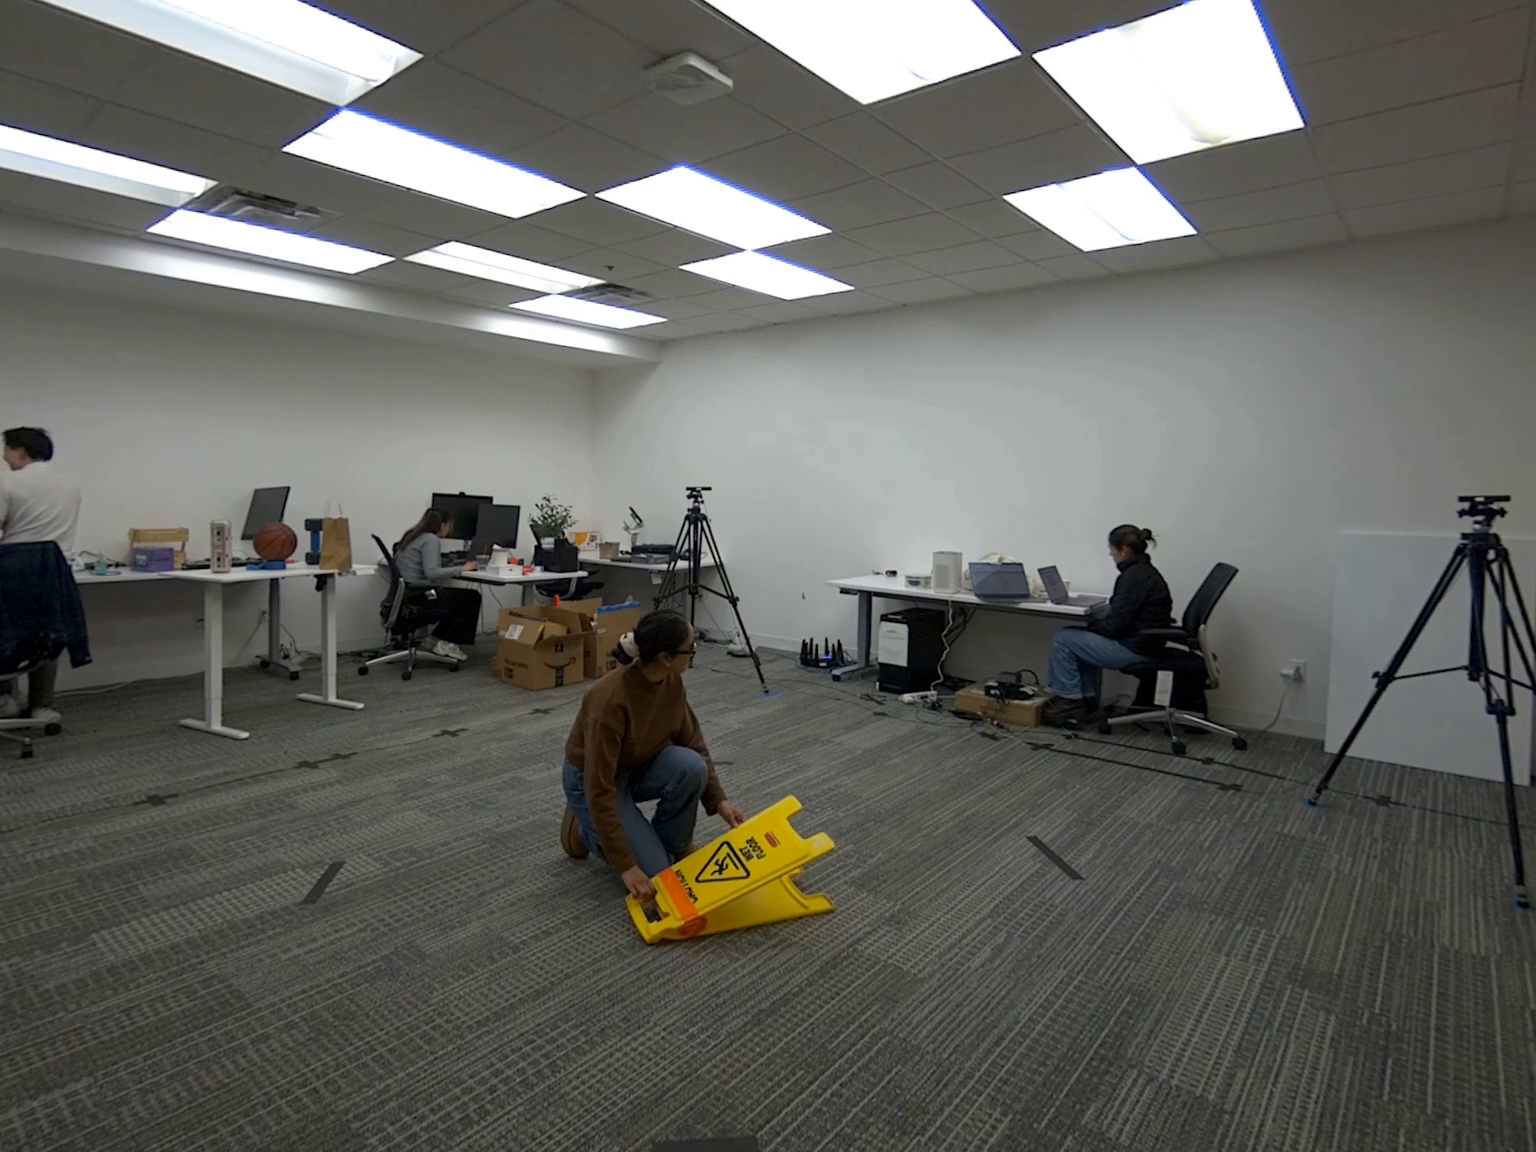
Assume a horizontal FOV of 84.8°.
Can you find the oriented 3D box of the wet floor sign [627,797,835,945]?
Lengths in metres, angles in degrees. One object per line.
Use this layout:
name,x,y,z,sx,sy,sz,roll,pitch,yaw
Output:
wet floor sign,-0.134,1.002,2.767,0.634,0.284,0.293,-13,23,-24
